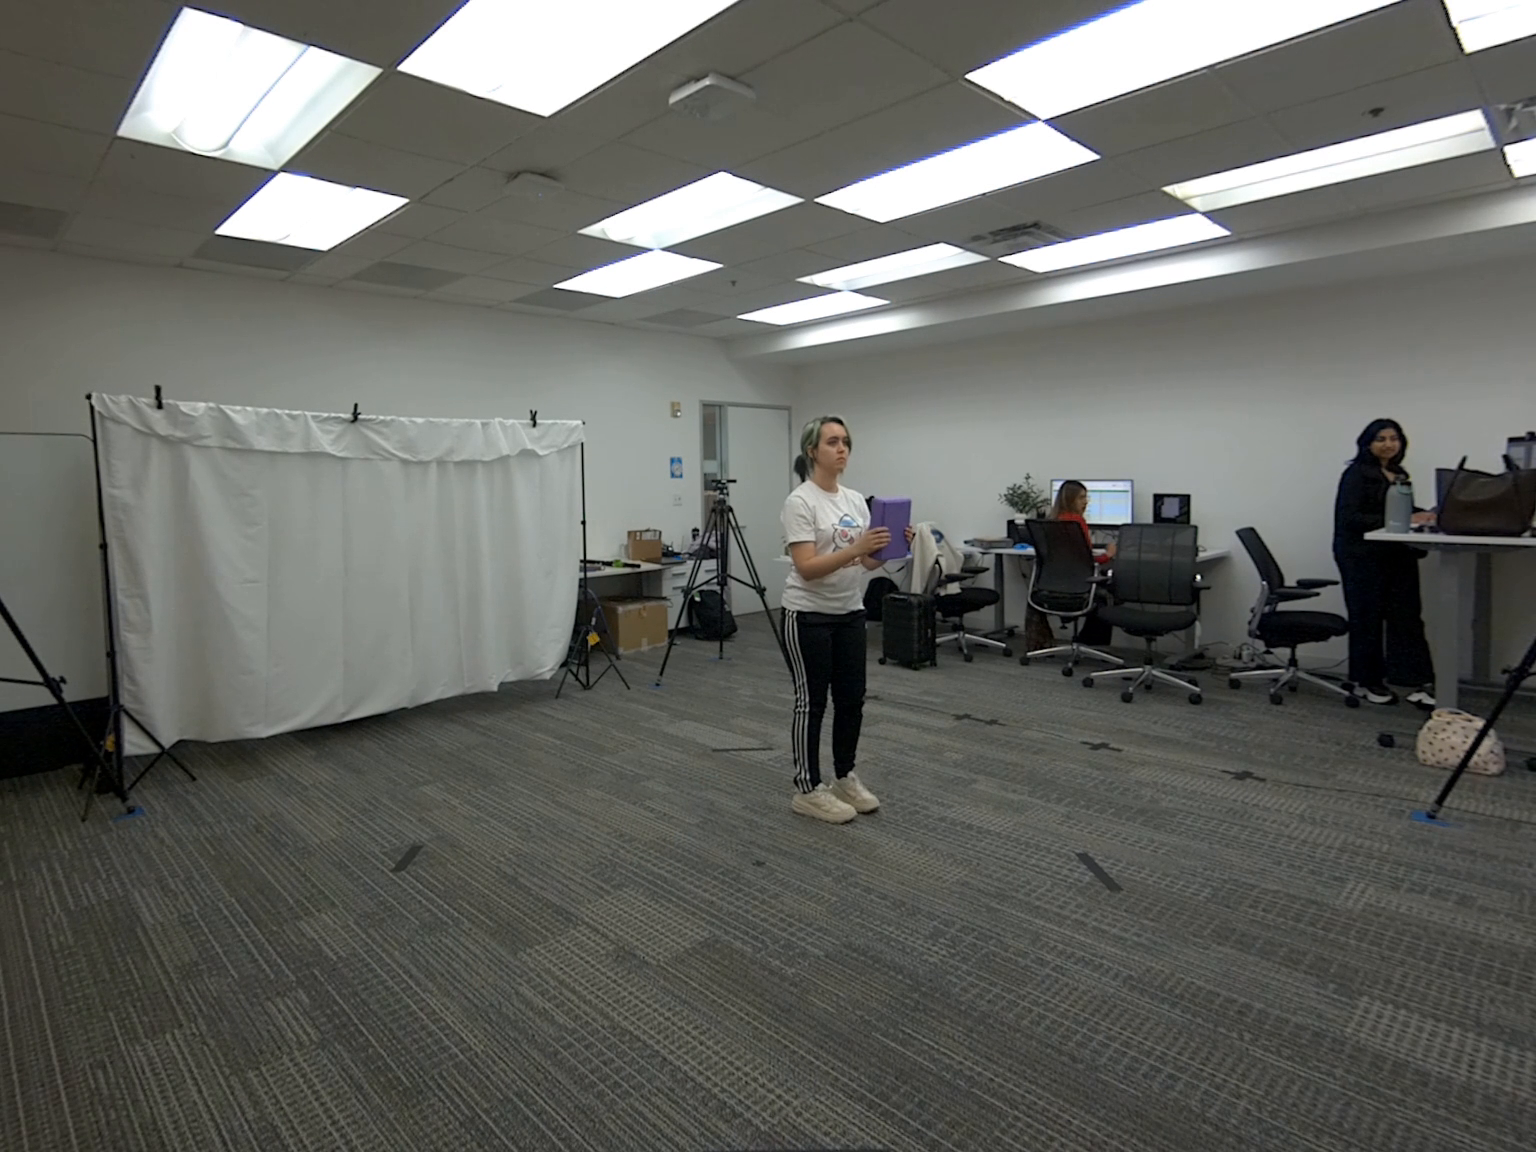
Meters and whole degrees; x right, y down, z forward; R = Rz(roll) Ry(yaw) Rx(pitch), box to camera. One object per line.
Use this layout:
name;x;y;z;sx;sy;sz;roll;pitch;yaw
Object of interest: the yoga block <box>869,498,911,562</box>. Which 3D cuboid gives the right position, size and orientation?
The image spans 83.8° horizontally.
yoga block;0.475;-0.183;3.243;0.146;0.226;0.079;-6;18;-24
